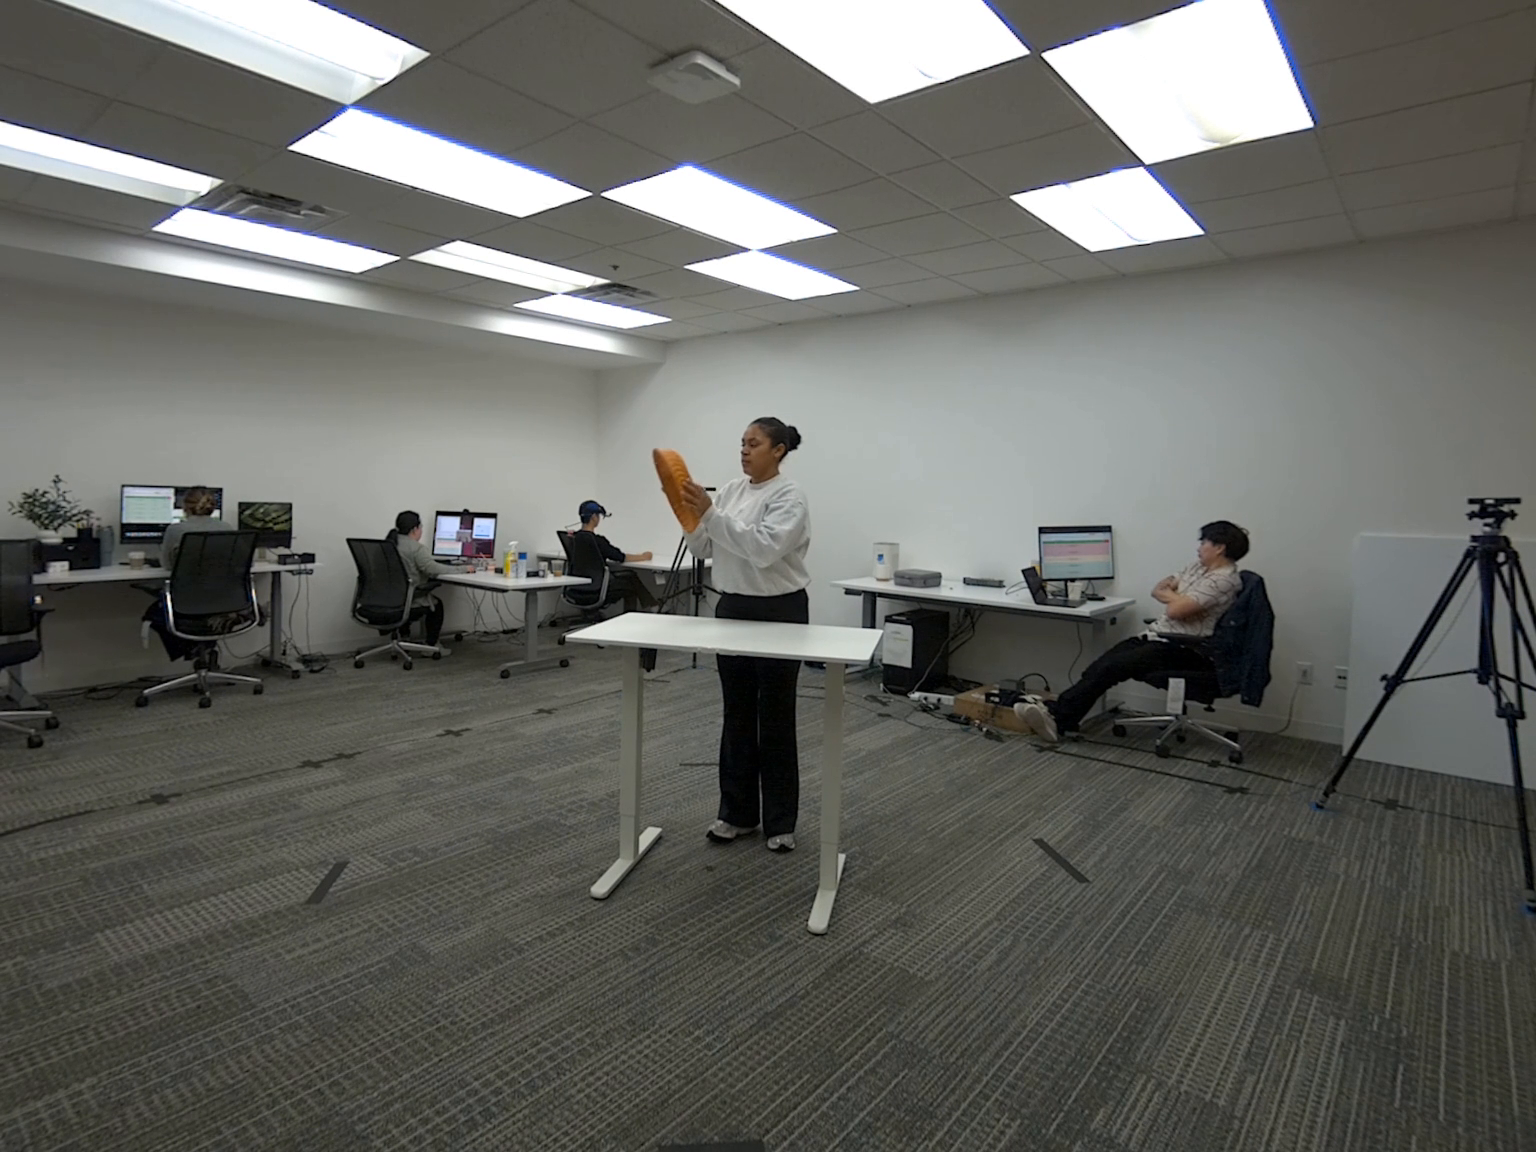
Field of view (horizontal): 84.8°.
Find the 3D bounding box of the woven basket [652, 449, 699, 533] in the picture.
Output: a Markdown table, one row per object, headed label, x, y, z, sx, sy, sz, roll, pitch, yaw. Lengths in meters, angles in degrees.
| label | x | y | z | sx | sy | sz | roll | pitch | yaw |
| --- | --- | --- | --- | --- | --- | --- | --- | --- | --- |
| woven basket | -0.337 | -0.314 | 3.180 | 0.073 | 0.342 | 0.260 | -23 | 20 | -16 |
